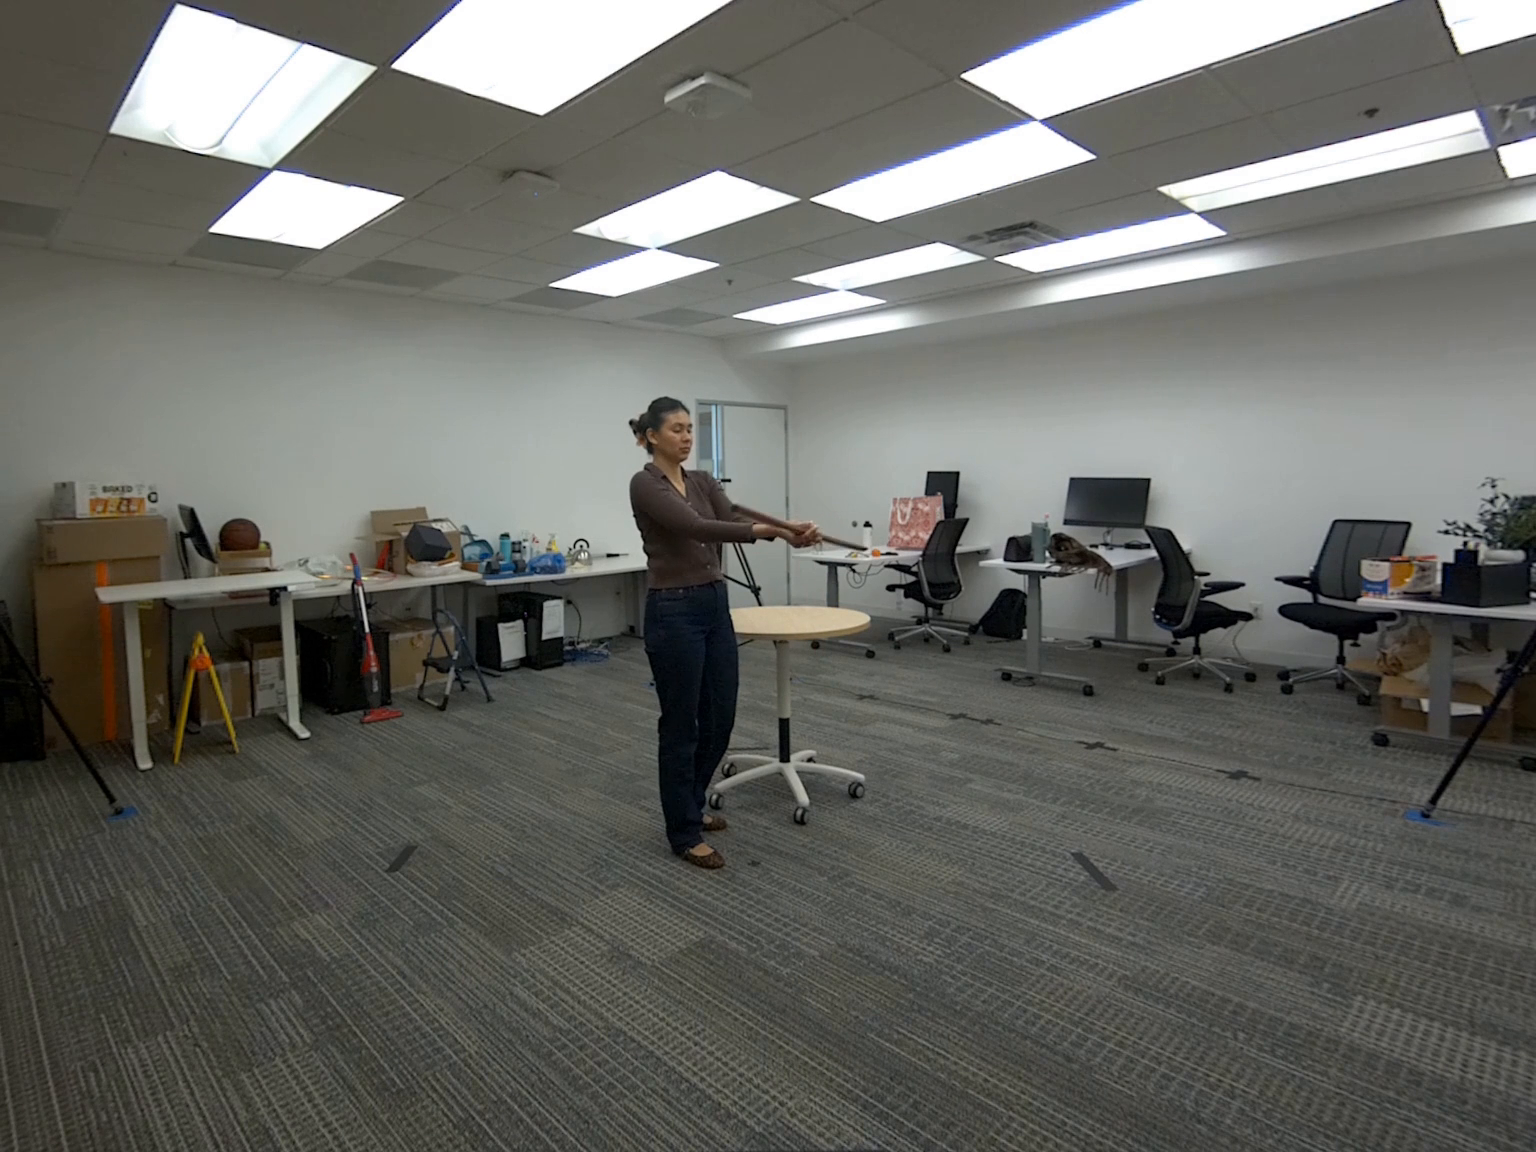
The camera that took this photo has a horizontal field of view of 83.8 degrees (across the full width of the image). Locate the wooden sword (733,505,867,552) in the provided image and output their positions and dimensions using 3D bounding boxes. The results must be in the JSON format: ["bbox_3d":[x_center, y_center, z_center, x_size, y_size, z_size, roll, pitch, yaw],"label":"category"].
[{"bbox_3d":[0.132,-0.145,2.788,0.024,0.052,0.994,-6,-8,29],"label":"wooden sword"}]
